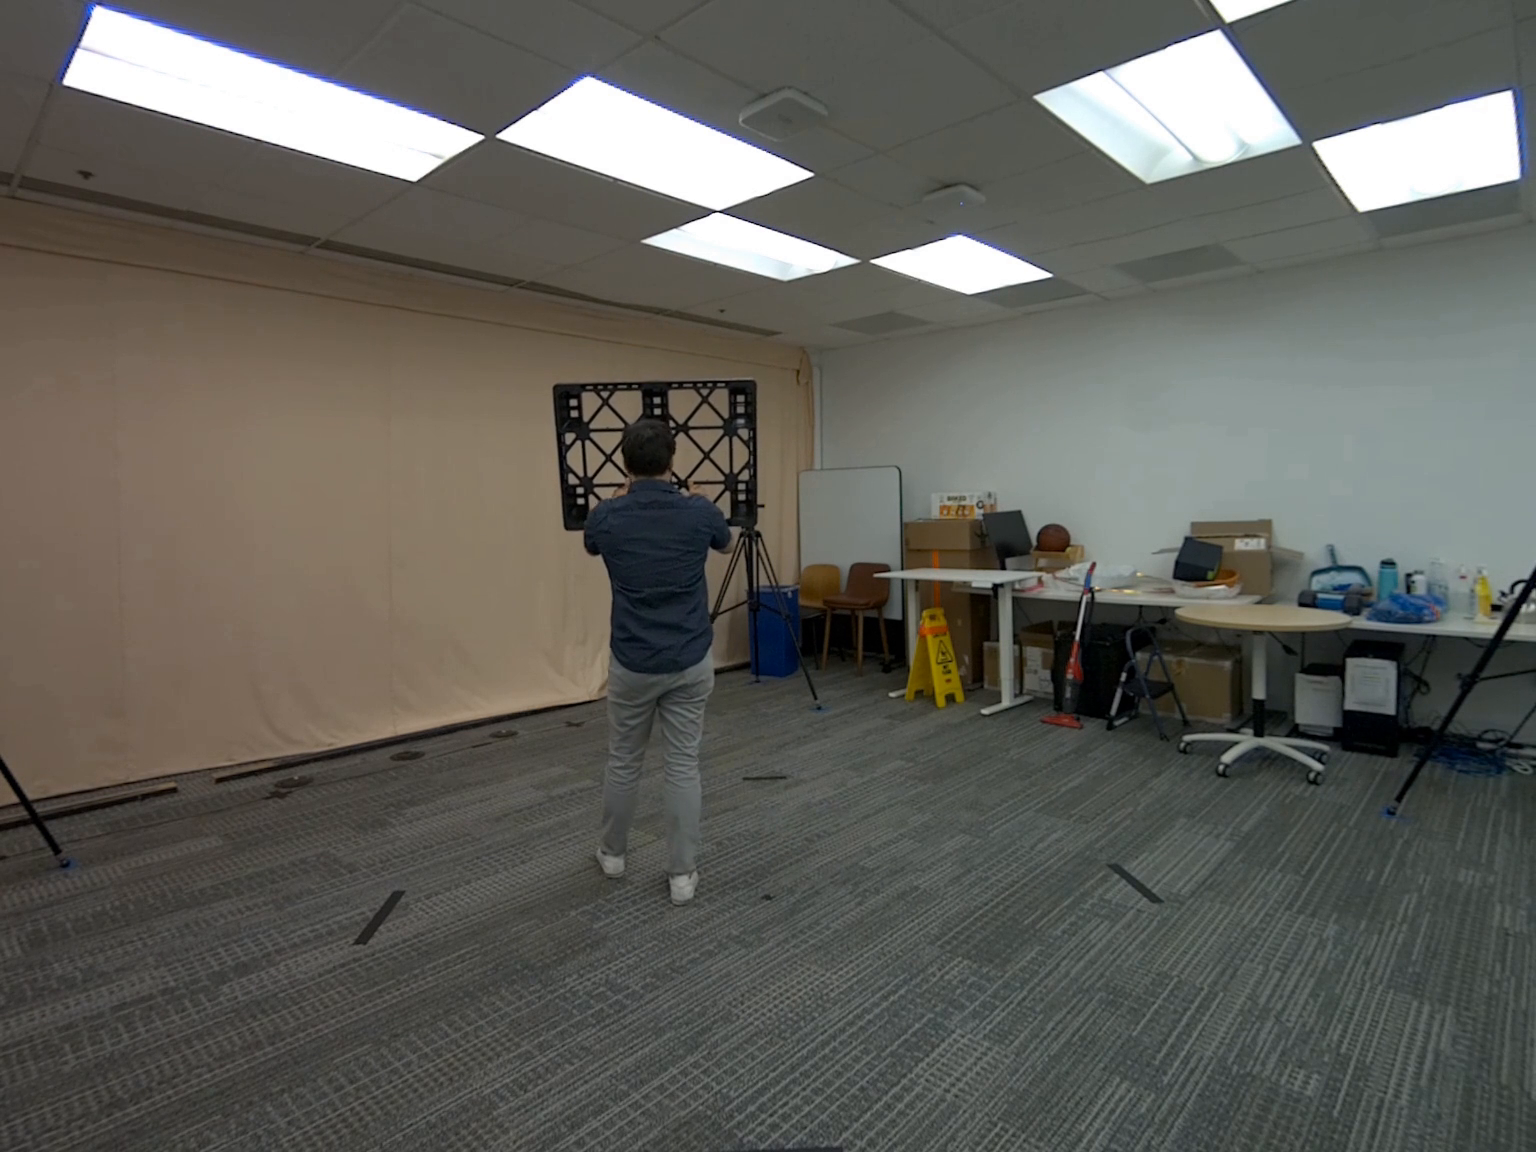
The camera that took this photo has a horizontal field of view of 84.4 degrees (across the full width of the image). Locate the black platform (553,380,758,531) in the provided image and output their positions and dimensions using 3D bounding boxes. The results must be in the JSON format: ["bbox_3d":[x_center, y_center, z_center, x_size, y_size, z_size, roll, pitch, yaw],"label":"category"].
[{"bbox_3d":[-0.449,-0.502,3.430,0.805,0.598,0.145,-1,17,0],"label":"black platform"}]
